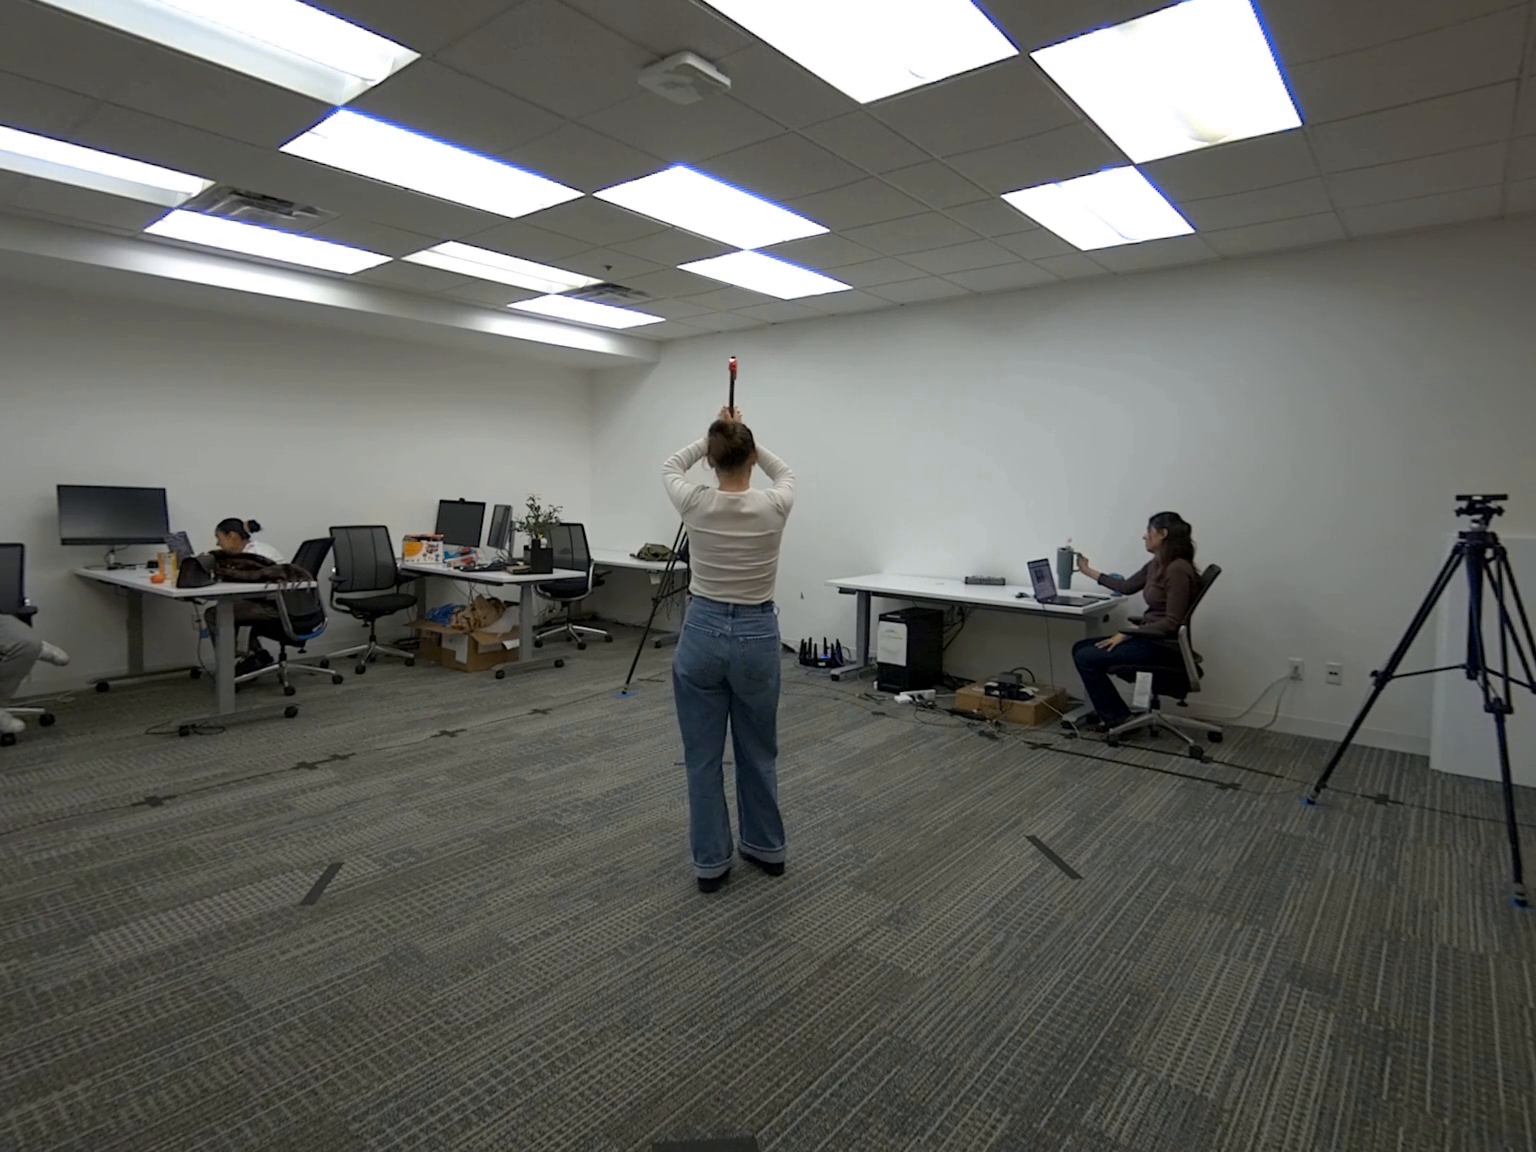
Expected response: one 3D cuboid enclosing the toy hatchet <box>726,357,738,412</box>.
[{"bbox_3d":[-0.144,-0.686,3.158,0.030,0.265,0.133,6,23,1],"label":"toy hatchet"}]
